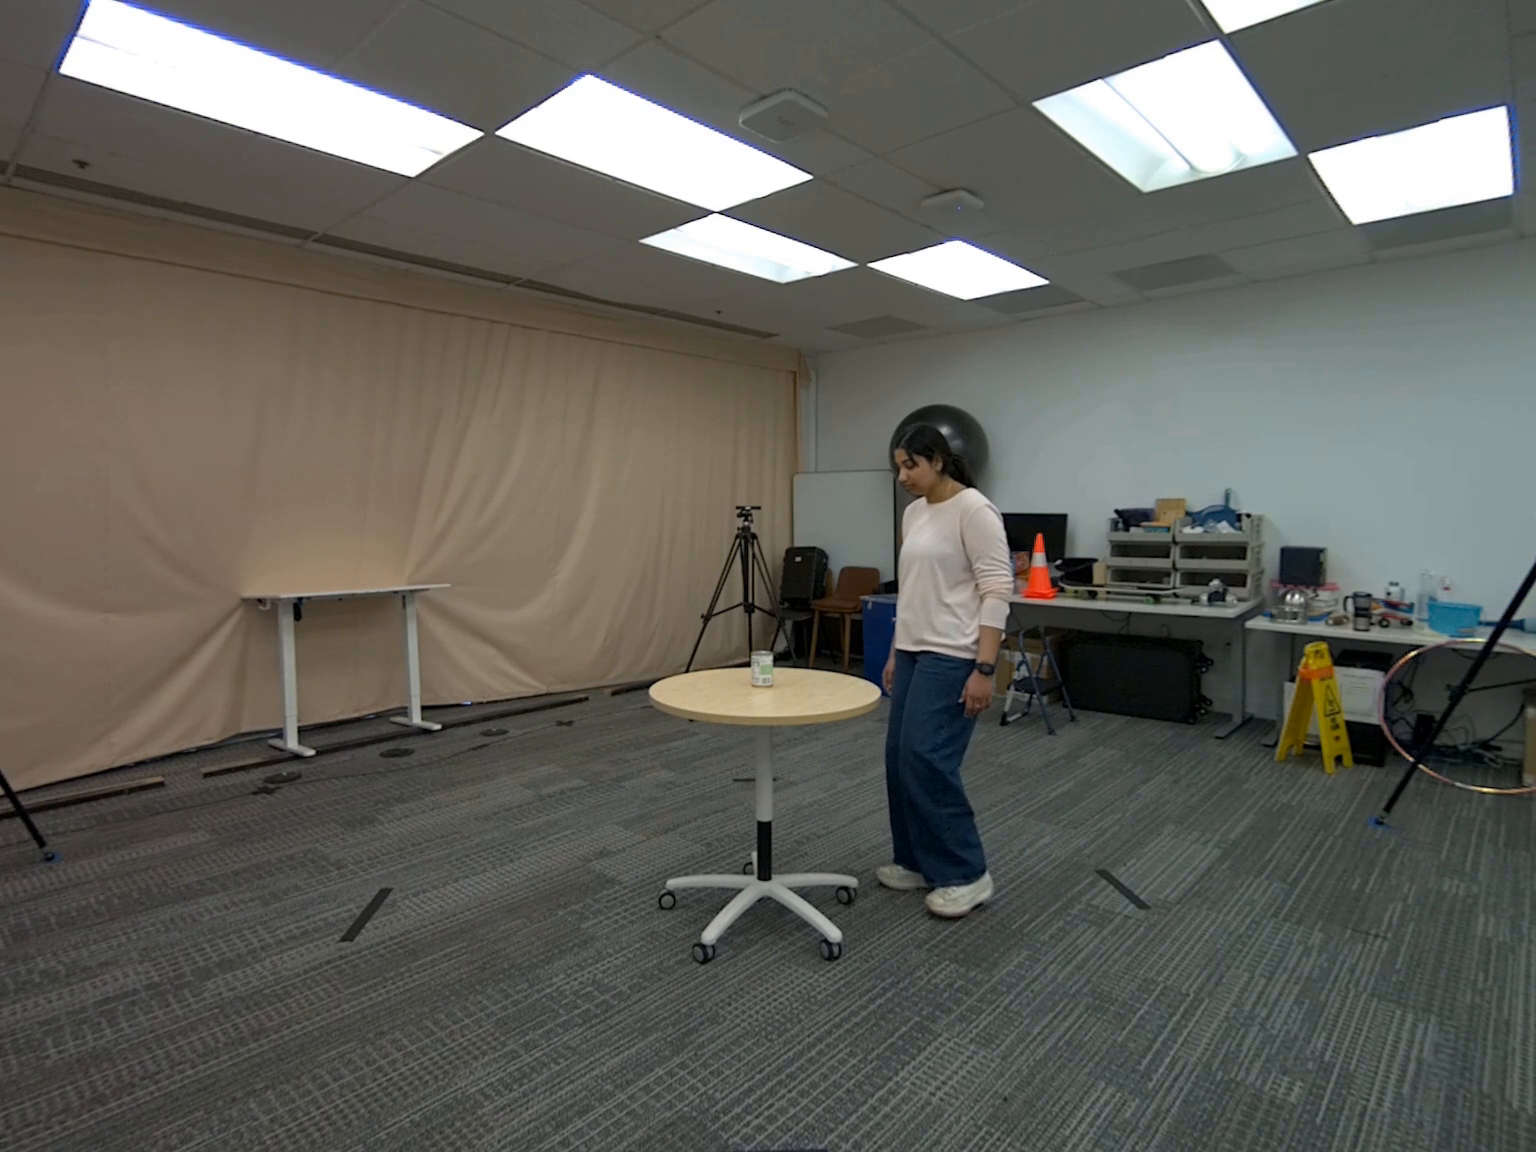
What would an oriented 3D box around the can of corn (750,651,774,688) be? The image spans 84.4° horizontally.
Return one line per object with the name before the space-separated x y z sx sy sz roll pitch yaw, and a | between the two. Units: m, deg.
can of corn | -0.013 0.318 2.848 0.074 0.111 0.074 0 2 -2
